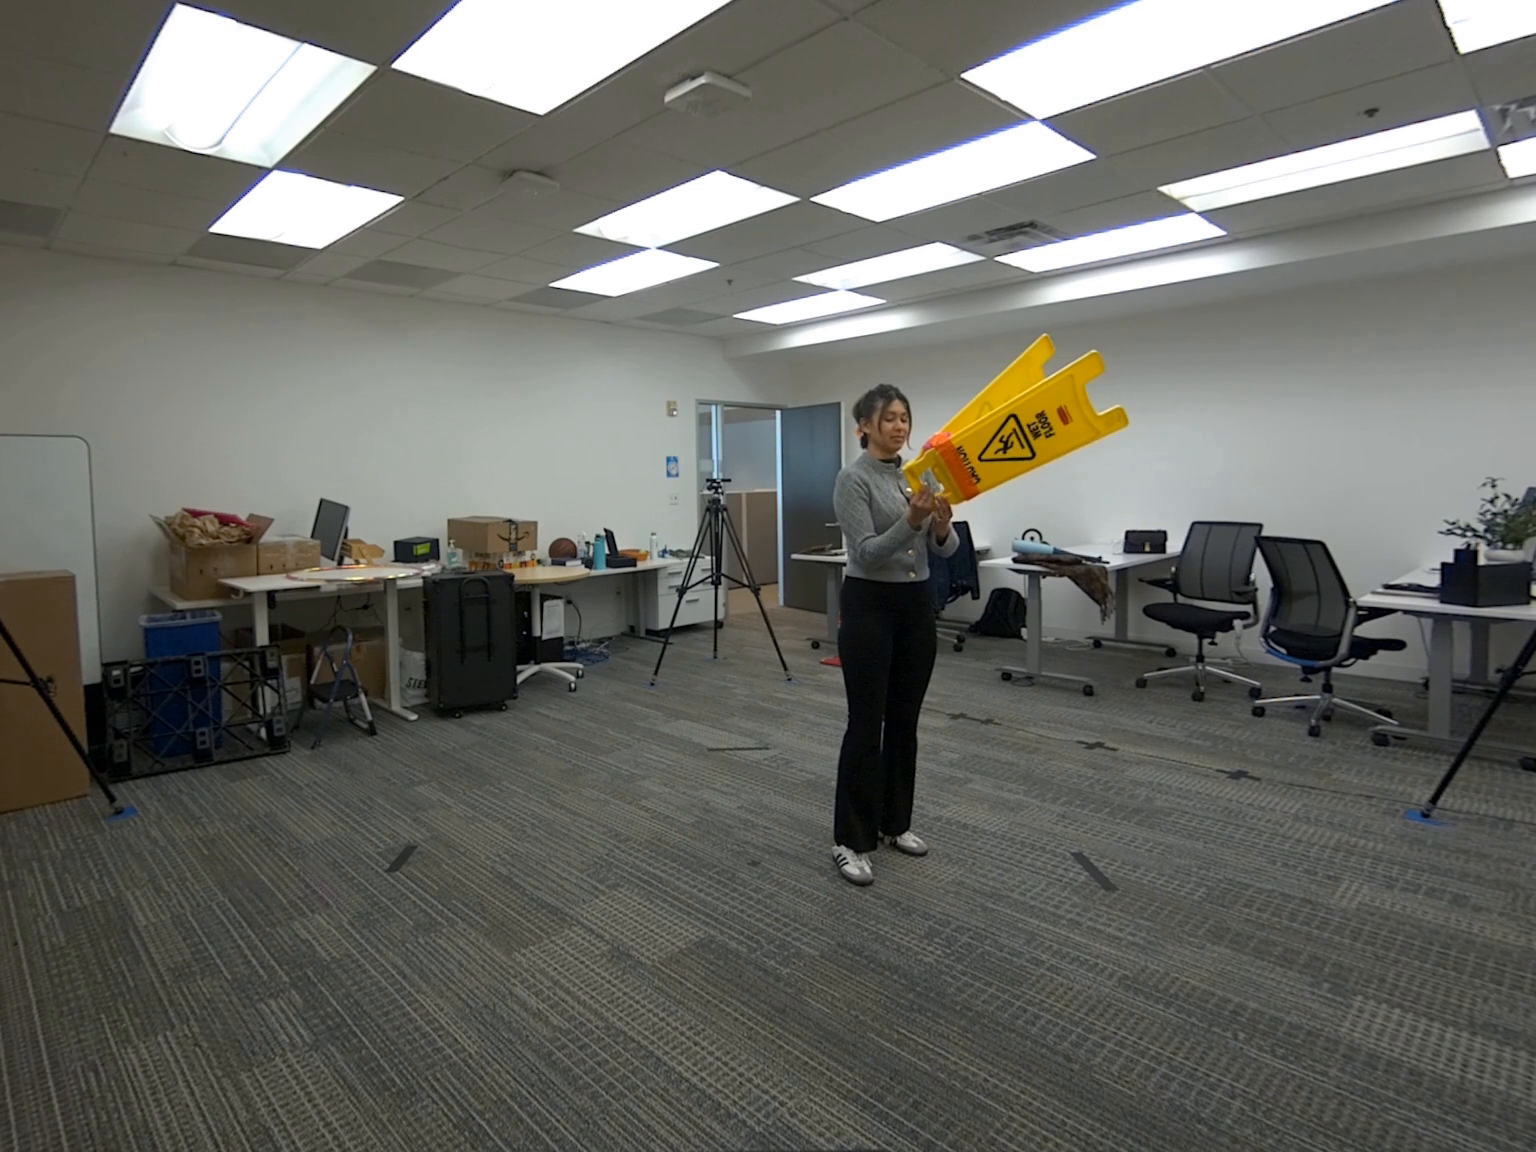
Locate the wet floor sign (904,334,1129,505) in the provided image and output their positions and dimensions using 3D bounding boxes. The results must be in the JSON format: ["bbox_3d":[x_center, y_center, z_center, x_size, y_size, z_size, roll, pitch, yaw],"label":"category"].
[{"bbox_3d":[0.743,-0.445,2.716,0.647,0.274,0.298,-35,25,4],"label":"wet floor sign"}]
